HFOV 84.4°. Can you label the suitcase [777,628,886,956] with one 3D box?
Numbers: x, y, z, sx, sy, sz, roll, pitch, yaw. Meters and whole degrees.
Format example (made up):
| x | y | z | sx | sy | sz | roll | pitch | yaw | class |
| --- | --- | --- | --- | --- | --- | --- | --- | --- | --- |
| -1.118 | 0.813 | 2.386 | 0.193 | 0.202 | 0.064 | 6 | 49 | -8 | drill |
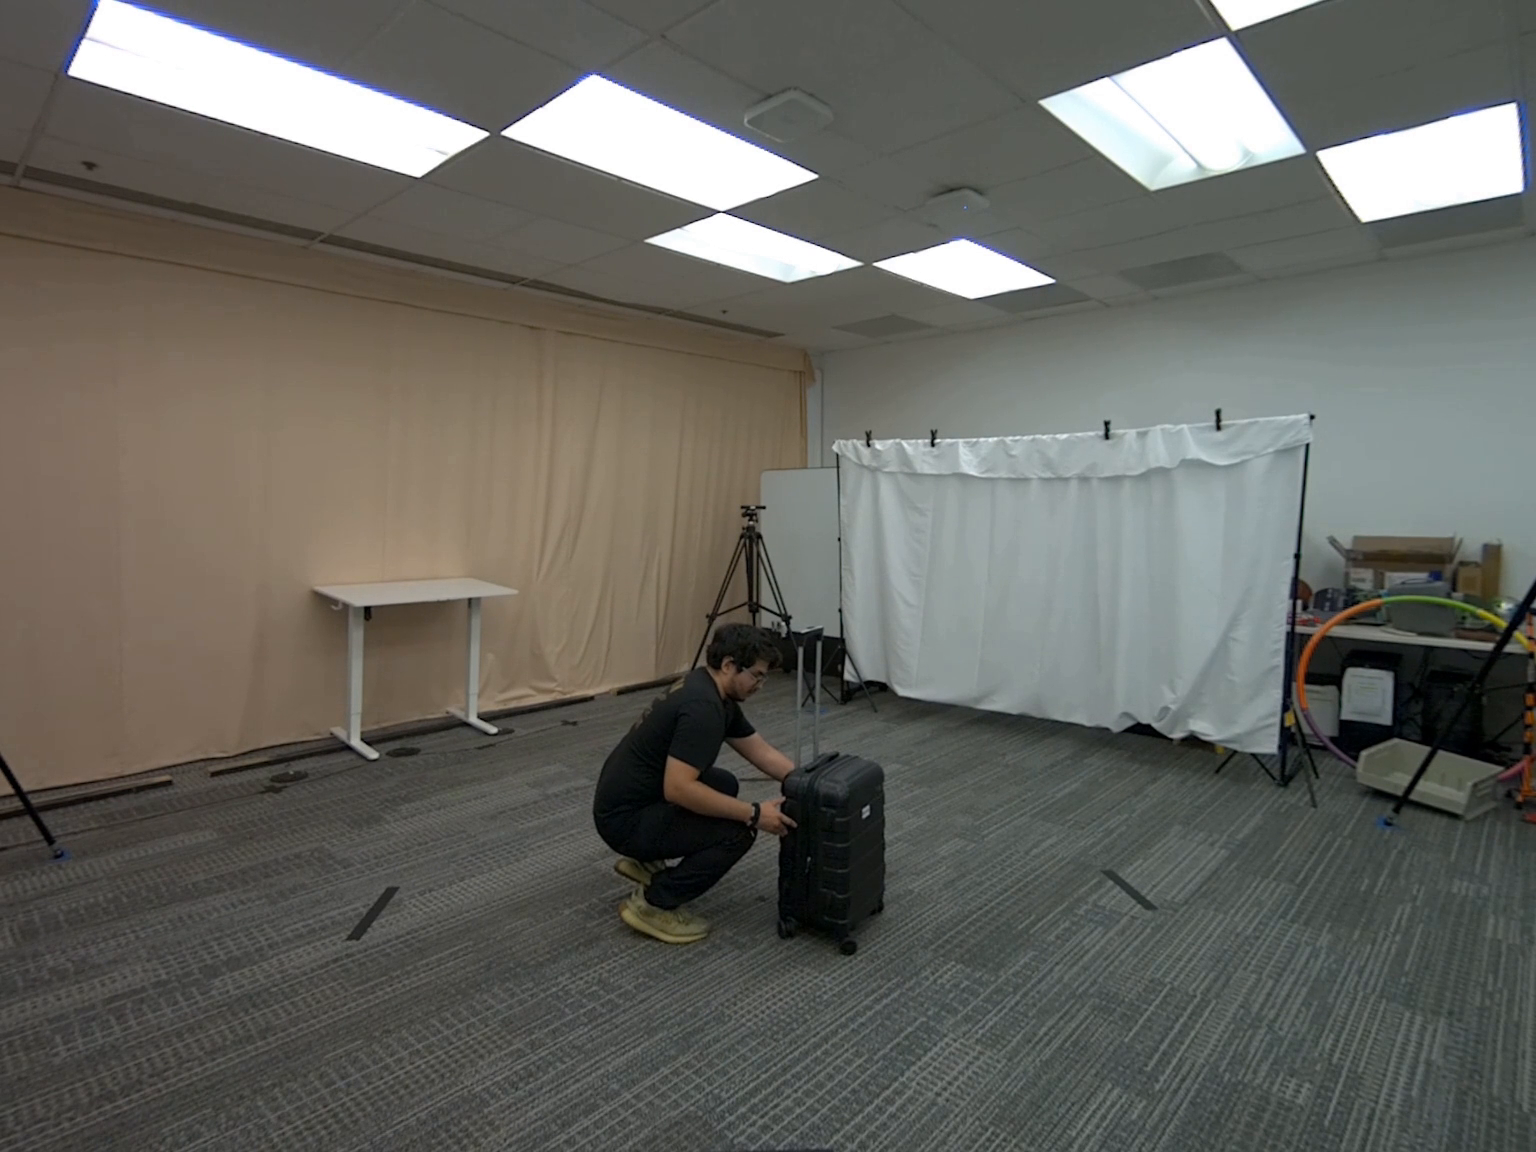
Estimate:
| x | y | z | sx | sy | sz | roll | pitch | yaw | class |
| --- | --- | --- | --- | --- | --- | --- | --- | --- | --- |
| 0.226 | 0.688 | 2.771 | 0.264 | 0.976 | 0.374 | 4 | 5 | 29 | suitcase |
